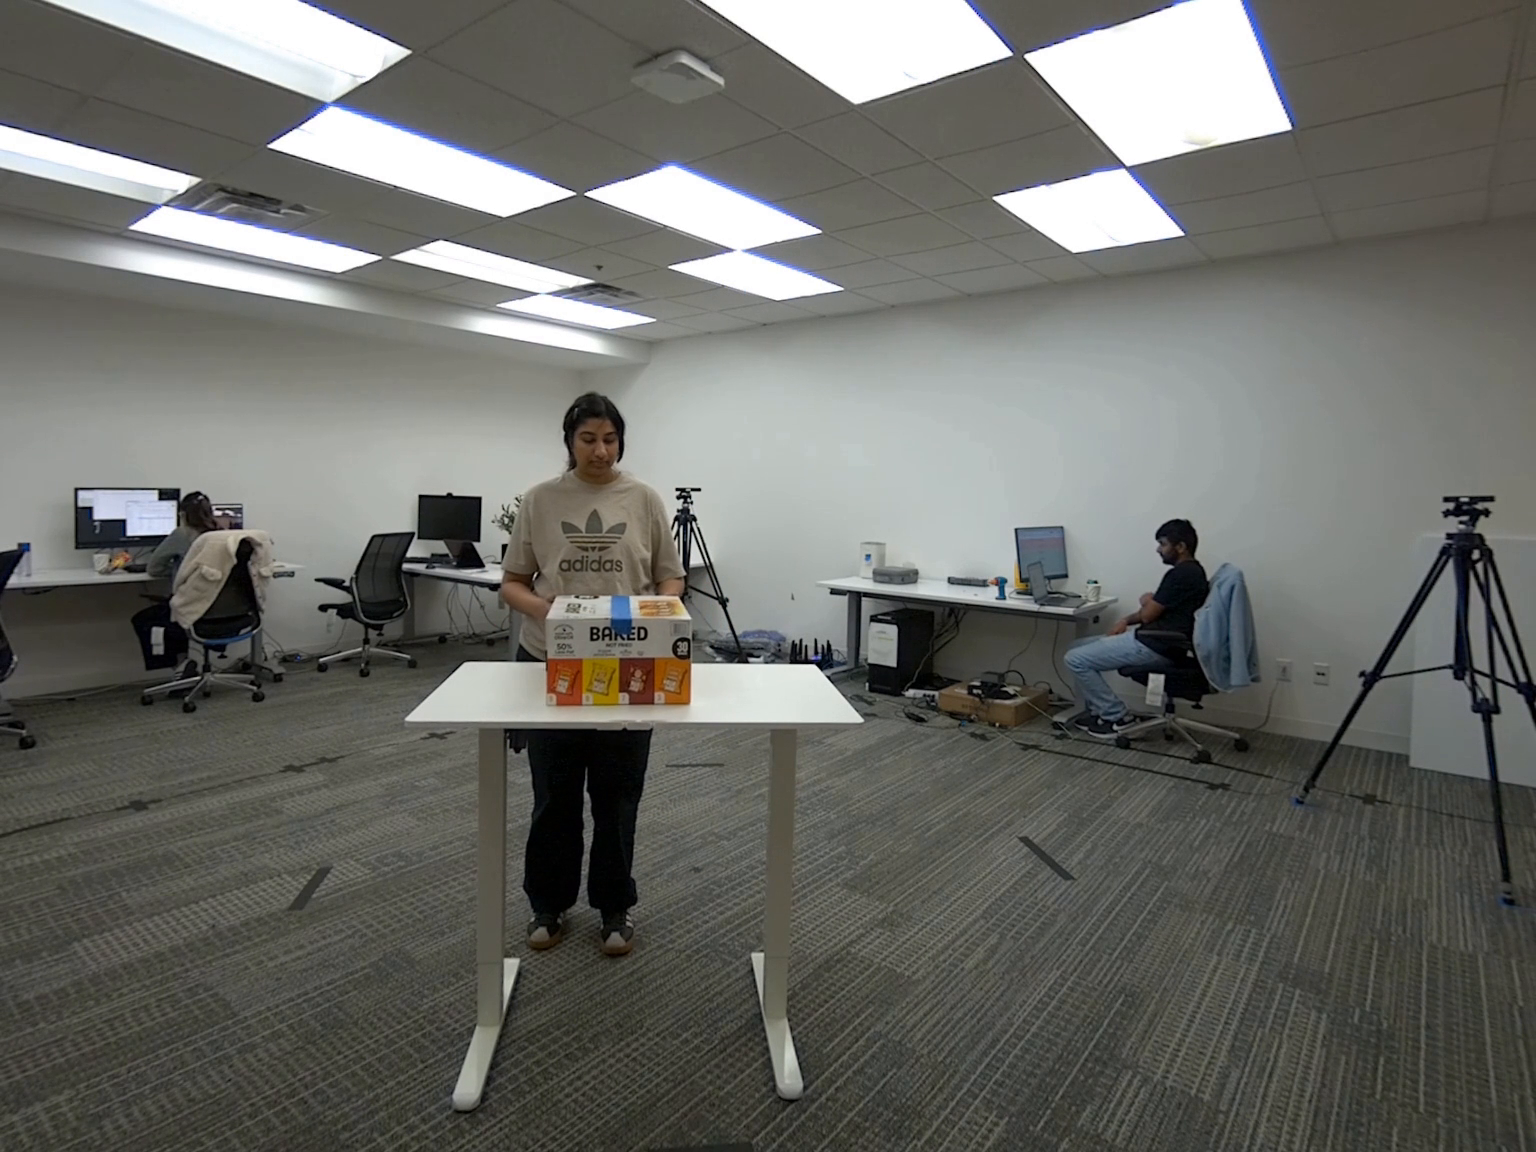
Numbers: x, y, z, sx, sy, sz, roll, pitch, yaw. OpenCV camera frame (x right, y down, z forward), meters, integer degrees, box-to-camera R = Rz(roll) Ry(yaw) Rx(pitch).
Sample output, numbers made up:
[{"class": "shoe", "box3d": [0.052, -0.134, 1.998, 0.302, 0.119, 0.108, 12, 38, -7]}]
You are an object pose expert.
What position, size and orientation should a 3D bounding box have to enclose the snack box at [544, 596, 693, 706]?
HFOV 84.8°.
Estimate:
[{"class": "snack box", "box3d": [-0.392, 0.175, 2.178, 0.337, 0.205, 0.411, 0, 5, -10]}]
